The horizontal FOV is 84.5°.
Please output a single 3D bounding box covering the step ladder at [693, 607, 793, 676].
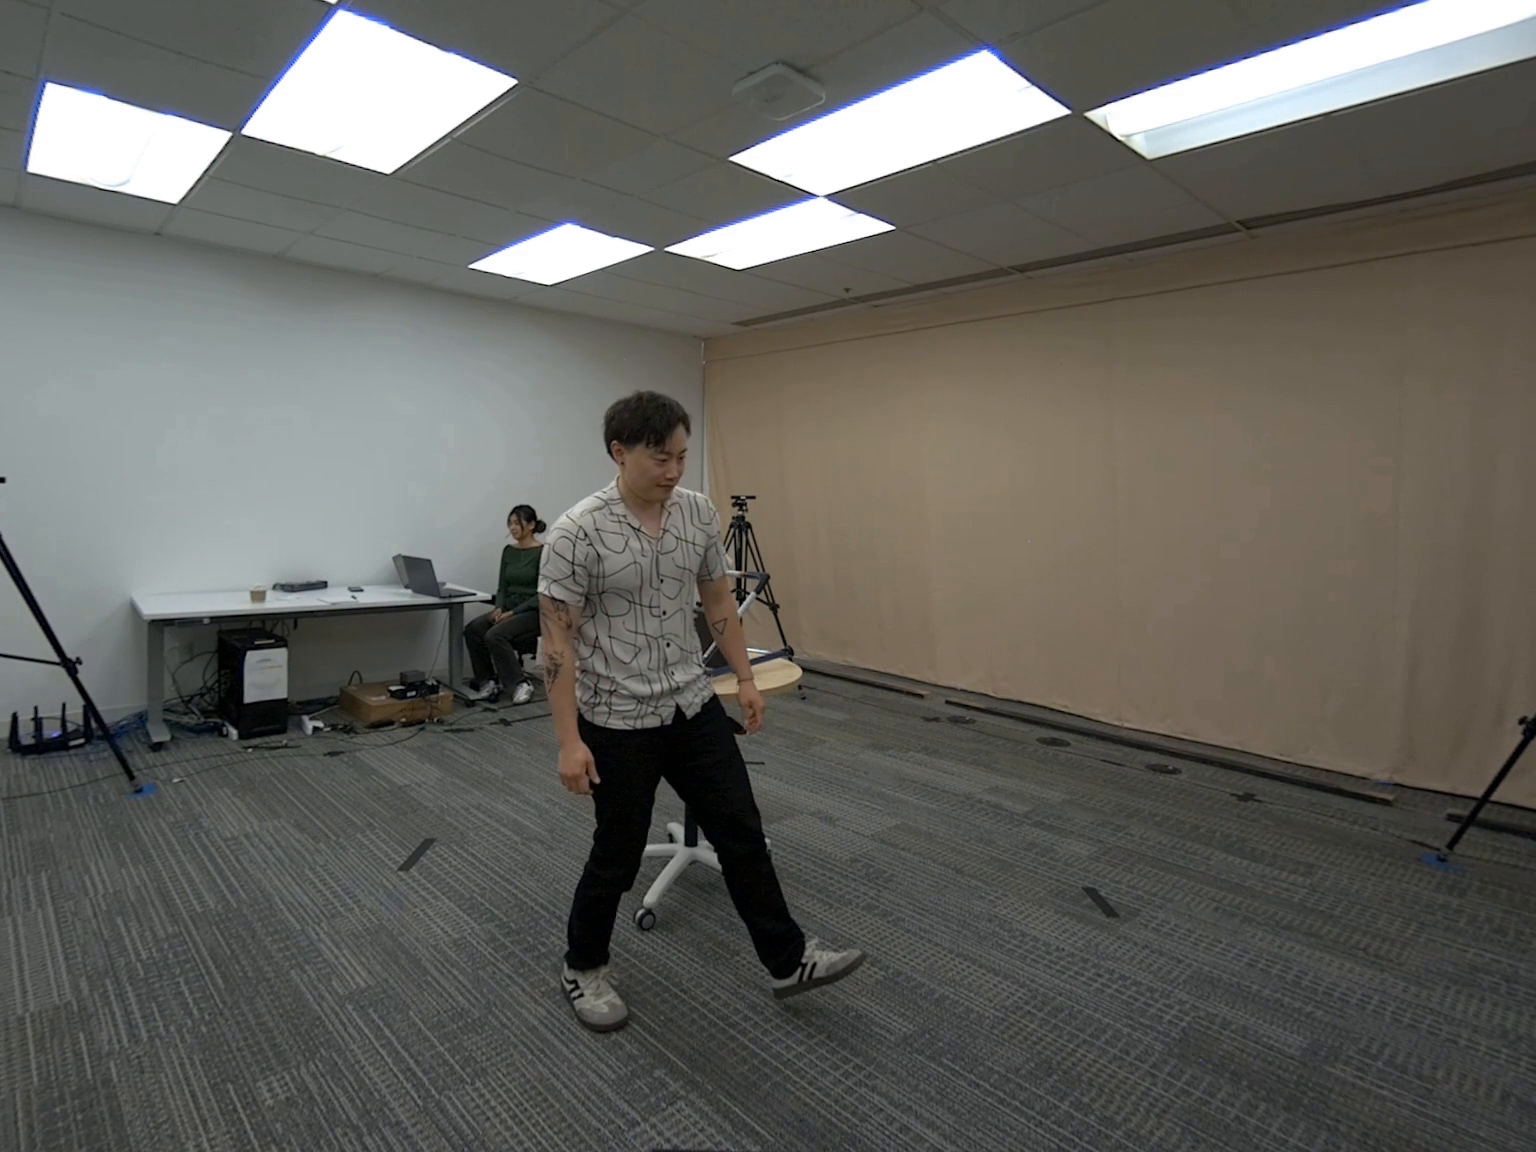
[{"bbox_3d":[-0.280,0.266,2.951,0.441,0.342,0.602,4,30,40],"label":"step ladder"}]
